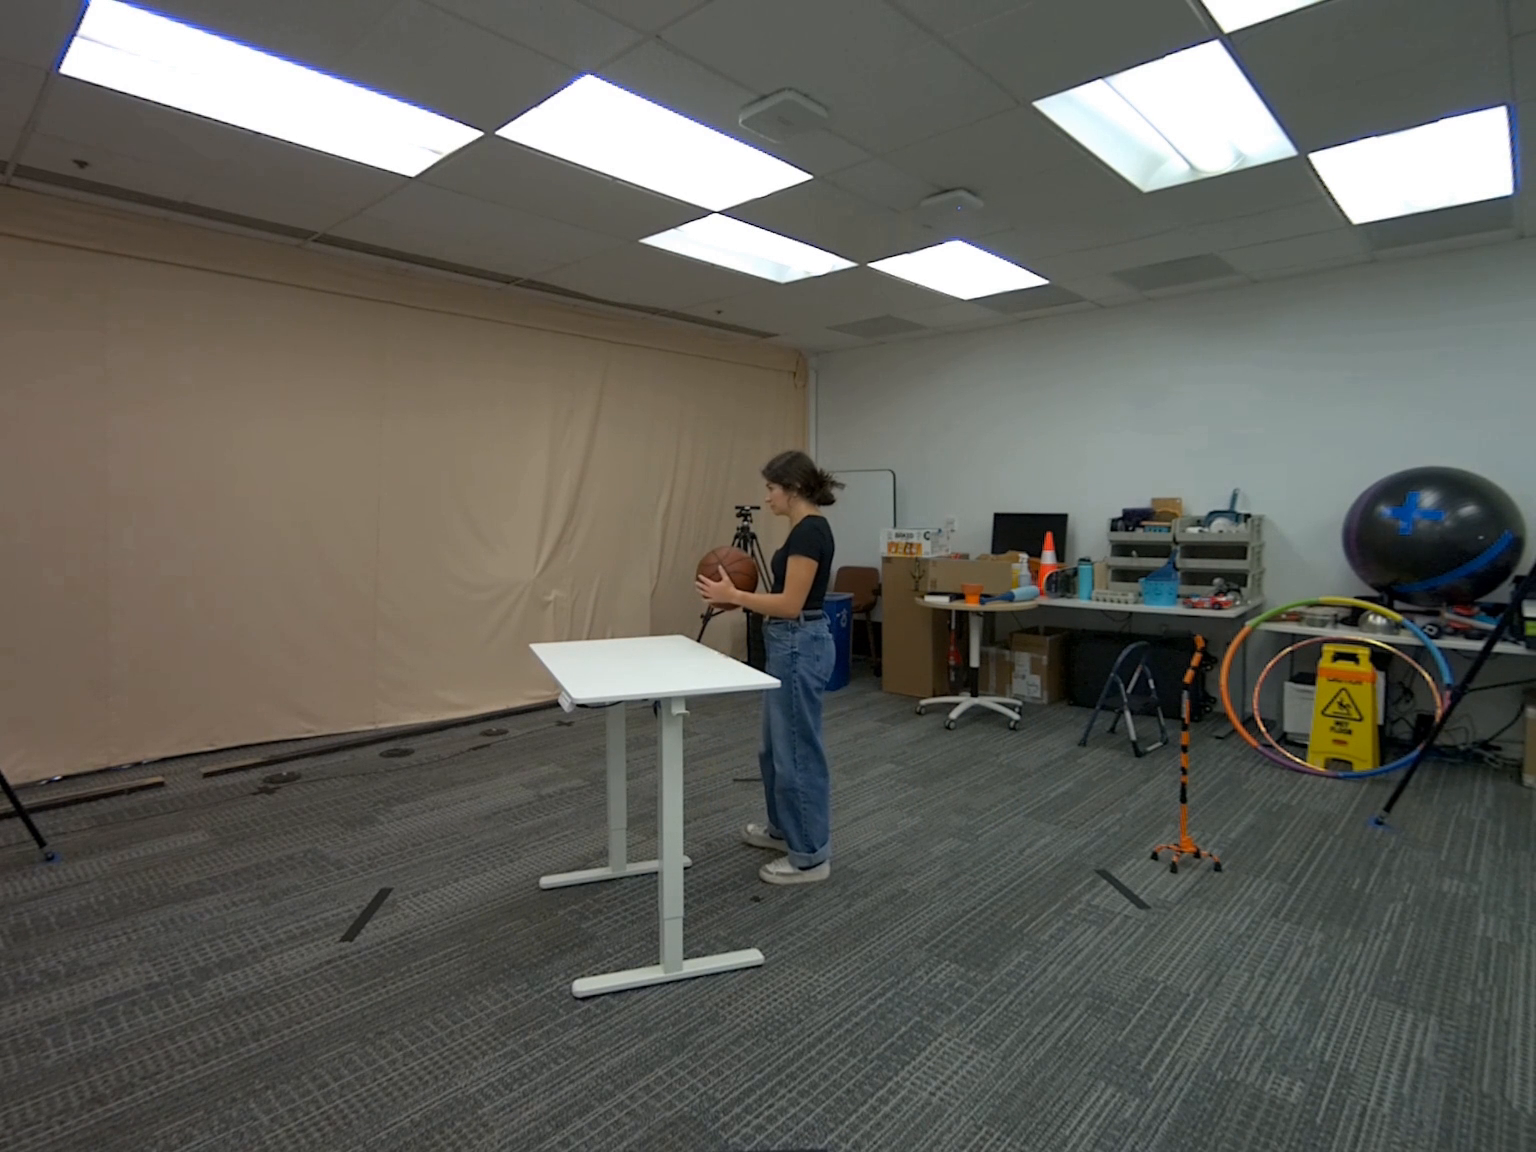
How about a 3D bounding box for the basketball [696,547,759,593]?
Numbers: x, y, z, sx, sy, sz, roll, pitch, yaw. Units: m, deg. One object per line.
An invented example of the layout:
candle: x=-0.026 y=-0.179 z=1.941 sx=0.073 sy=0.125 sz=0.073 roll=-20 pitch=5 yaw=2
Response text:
basketball: x=-0.148 y=0.006 z=3.210 sx=0.236 sy=0.235 sz=0.237 roll=0 pitch=4 yaw=-2
